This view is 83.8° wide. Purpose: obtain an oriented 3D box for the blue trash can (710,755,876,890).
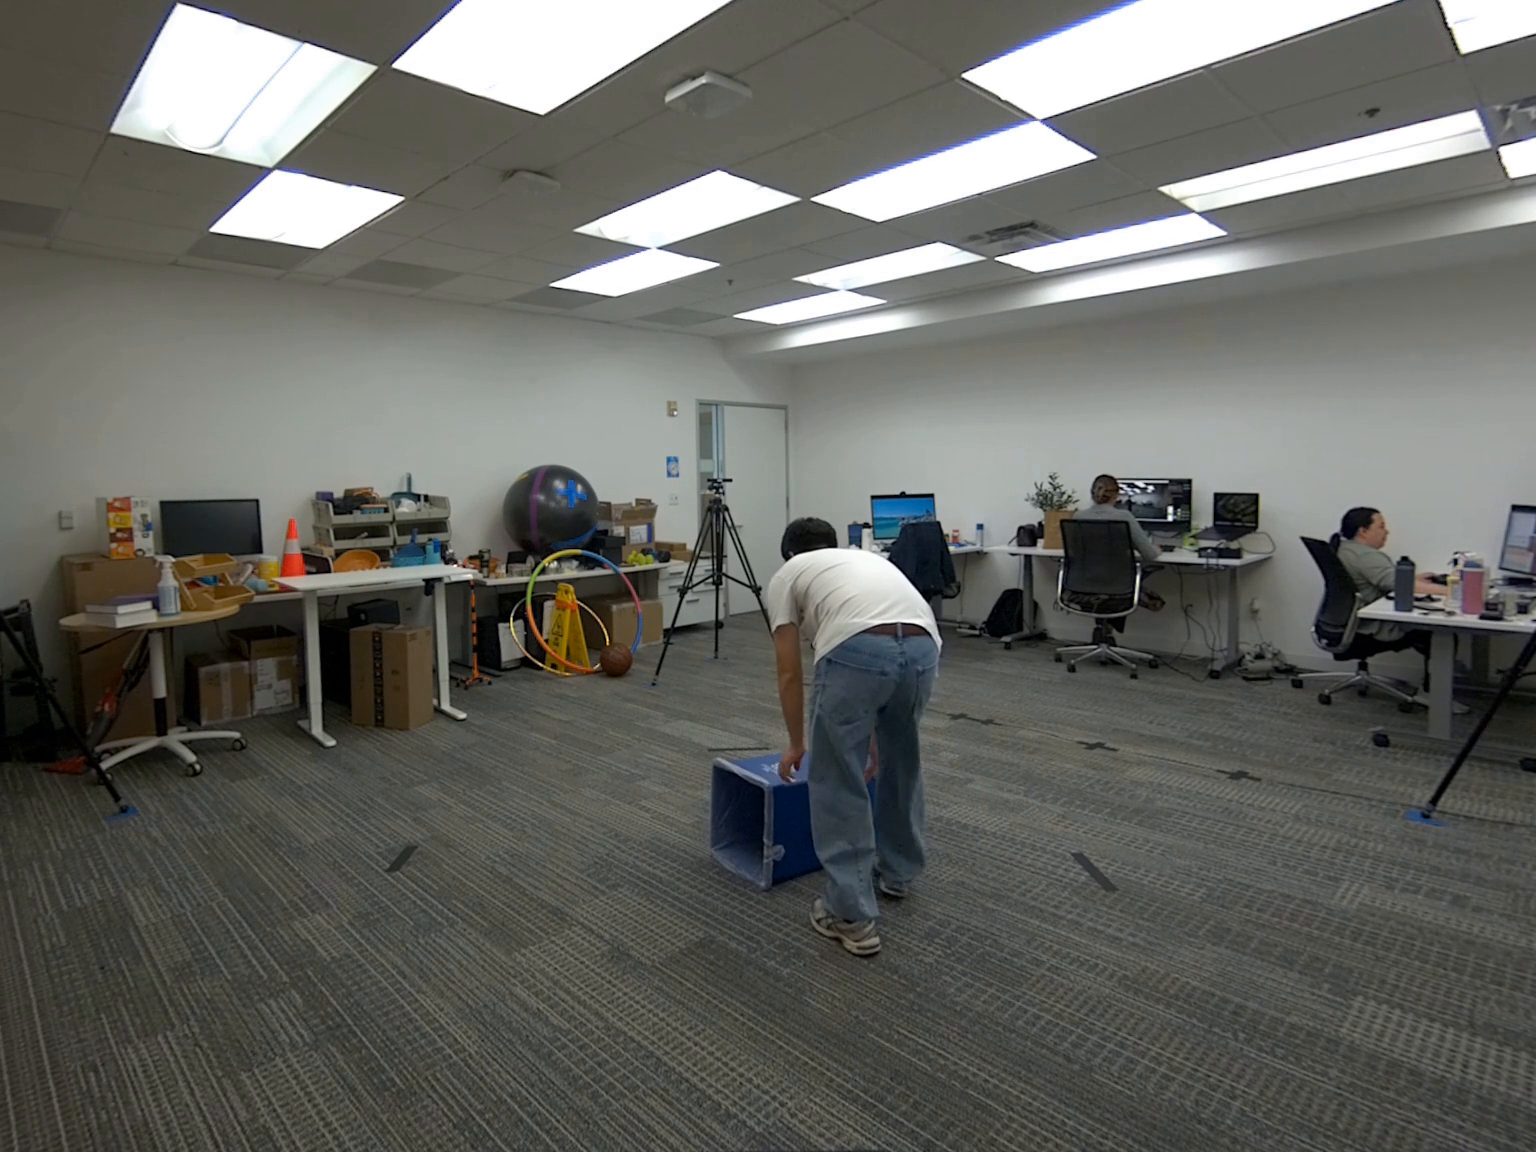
[{"bbox_3d":[0.176,0.861,3.218,0.694,0.377,0.385,-1,4,-36],"label":"blue trash can"}]
